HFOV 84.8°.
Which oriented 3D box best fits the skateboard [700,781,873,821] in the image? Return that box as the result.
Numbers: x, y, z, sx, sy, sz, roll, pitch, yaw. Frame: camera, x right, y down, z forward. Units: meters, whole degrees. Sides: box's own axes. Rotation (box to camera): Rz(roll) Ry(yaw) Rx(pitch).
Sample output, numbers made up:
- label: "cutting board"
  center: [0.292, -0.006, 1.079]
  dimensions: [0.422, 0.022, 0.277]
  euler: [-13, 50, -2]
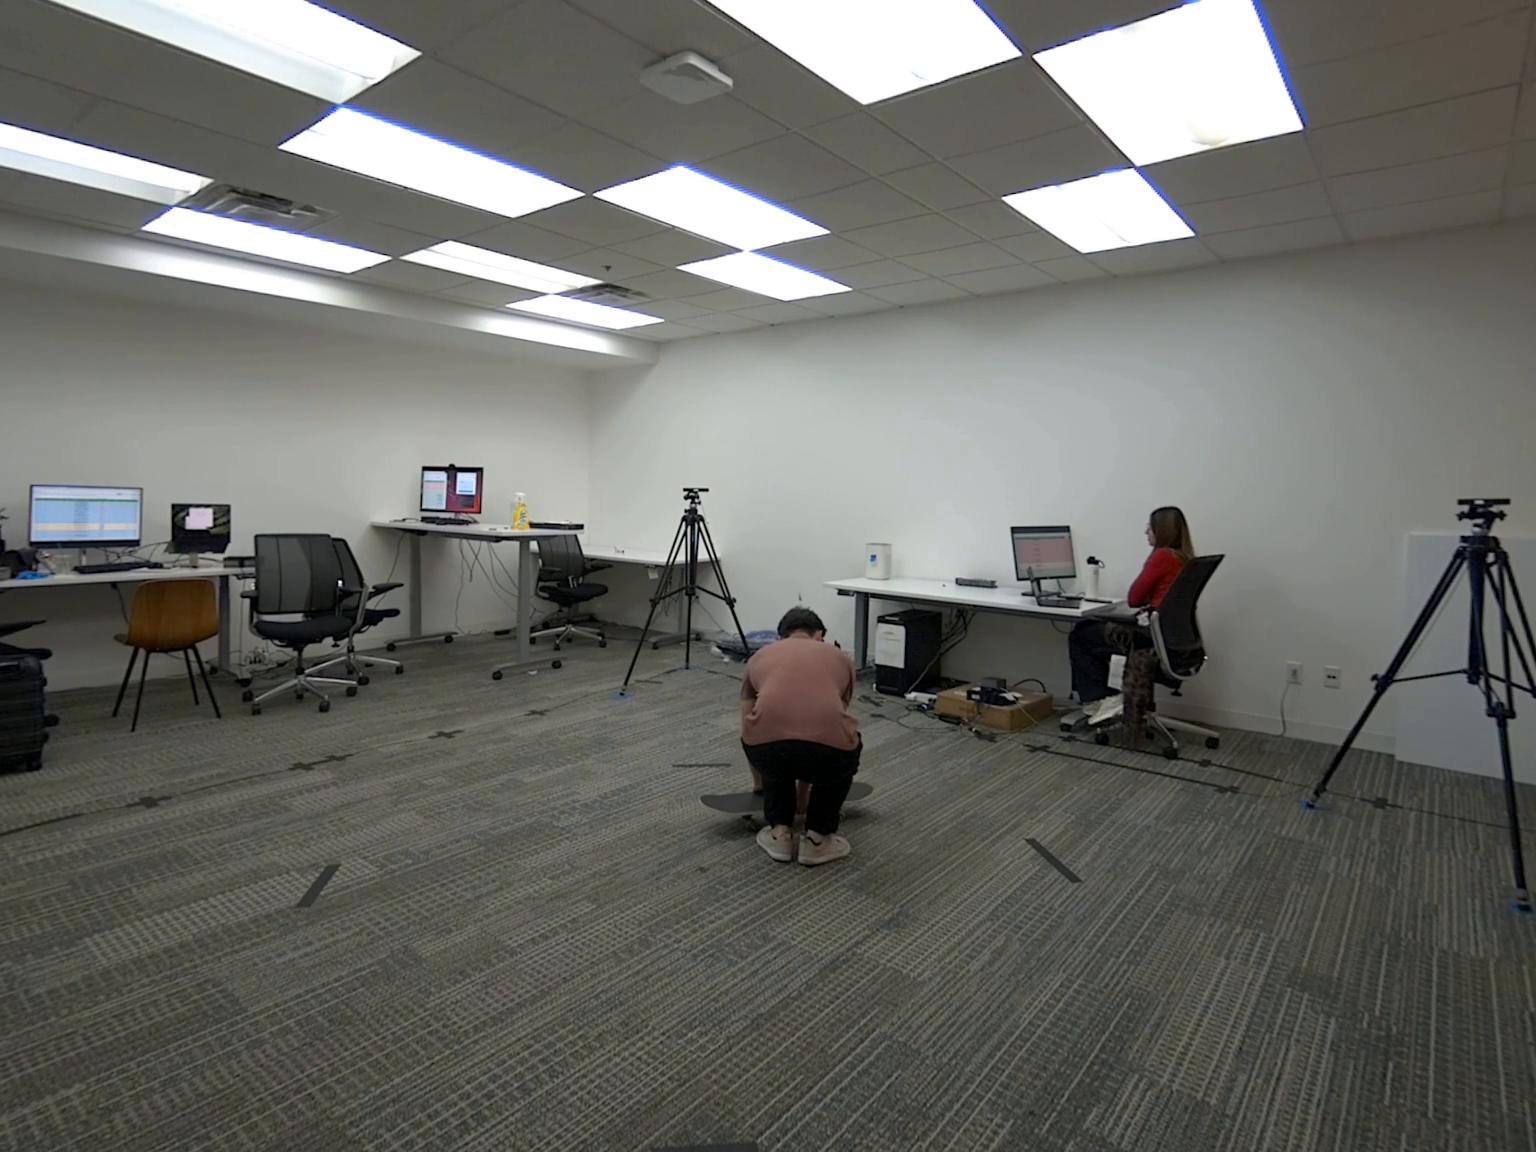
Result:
- label: "skateboard"
  center: [0.080, 0.950, 3.587]
  dimensions: [0.770, 0.110, 0.198]
  euler: [1, 7, -19]
